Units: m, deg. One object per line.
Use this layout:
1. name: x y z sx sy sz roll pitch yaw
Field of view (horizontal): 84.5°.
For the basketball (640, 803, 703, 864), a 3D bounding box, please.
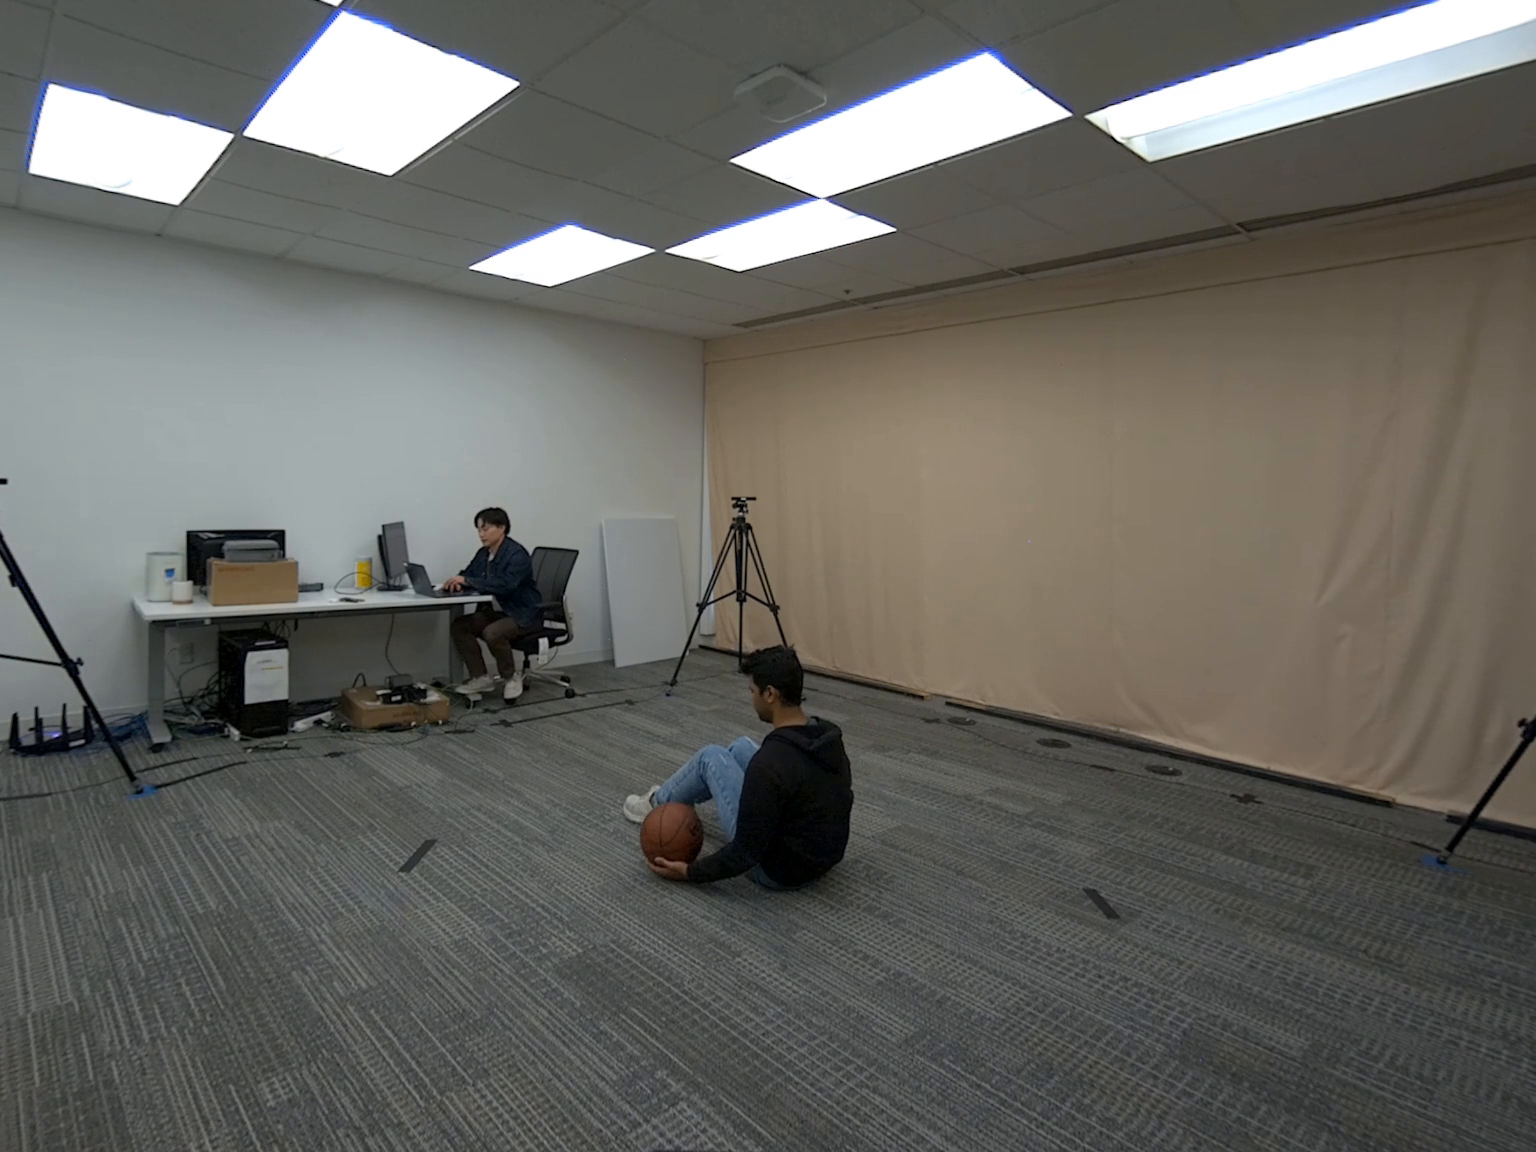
1. basketball: -0.359 0.947 3.129 0.236 0.235 0.237 1 4 -1
